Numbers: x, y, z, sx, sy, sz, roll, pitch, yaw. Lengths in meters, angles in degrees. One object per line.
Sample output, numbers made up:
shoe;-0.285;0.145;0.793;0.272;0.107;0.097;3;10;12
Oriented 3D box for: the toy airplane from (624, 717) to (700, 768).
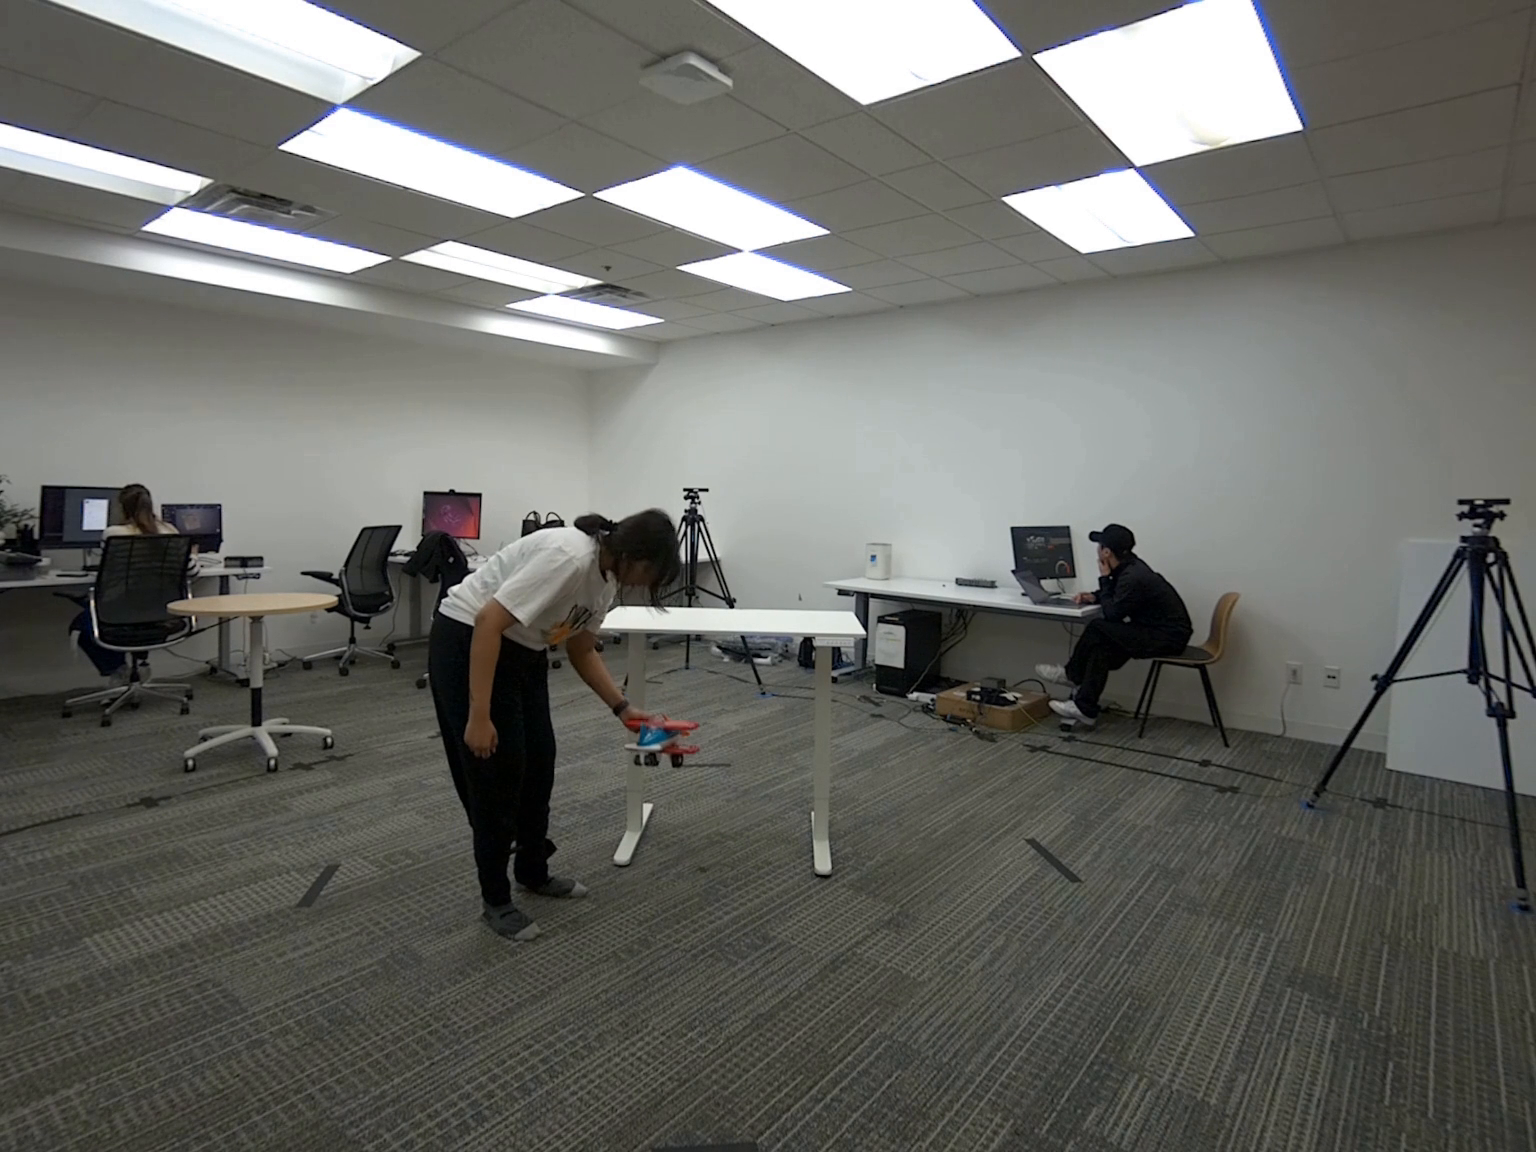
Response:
toy airplane;-0.357;0.544;2.748;0.248;0.159;0.258;6;-15;-10
